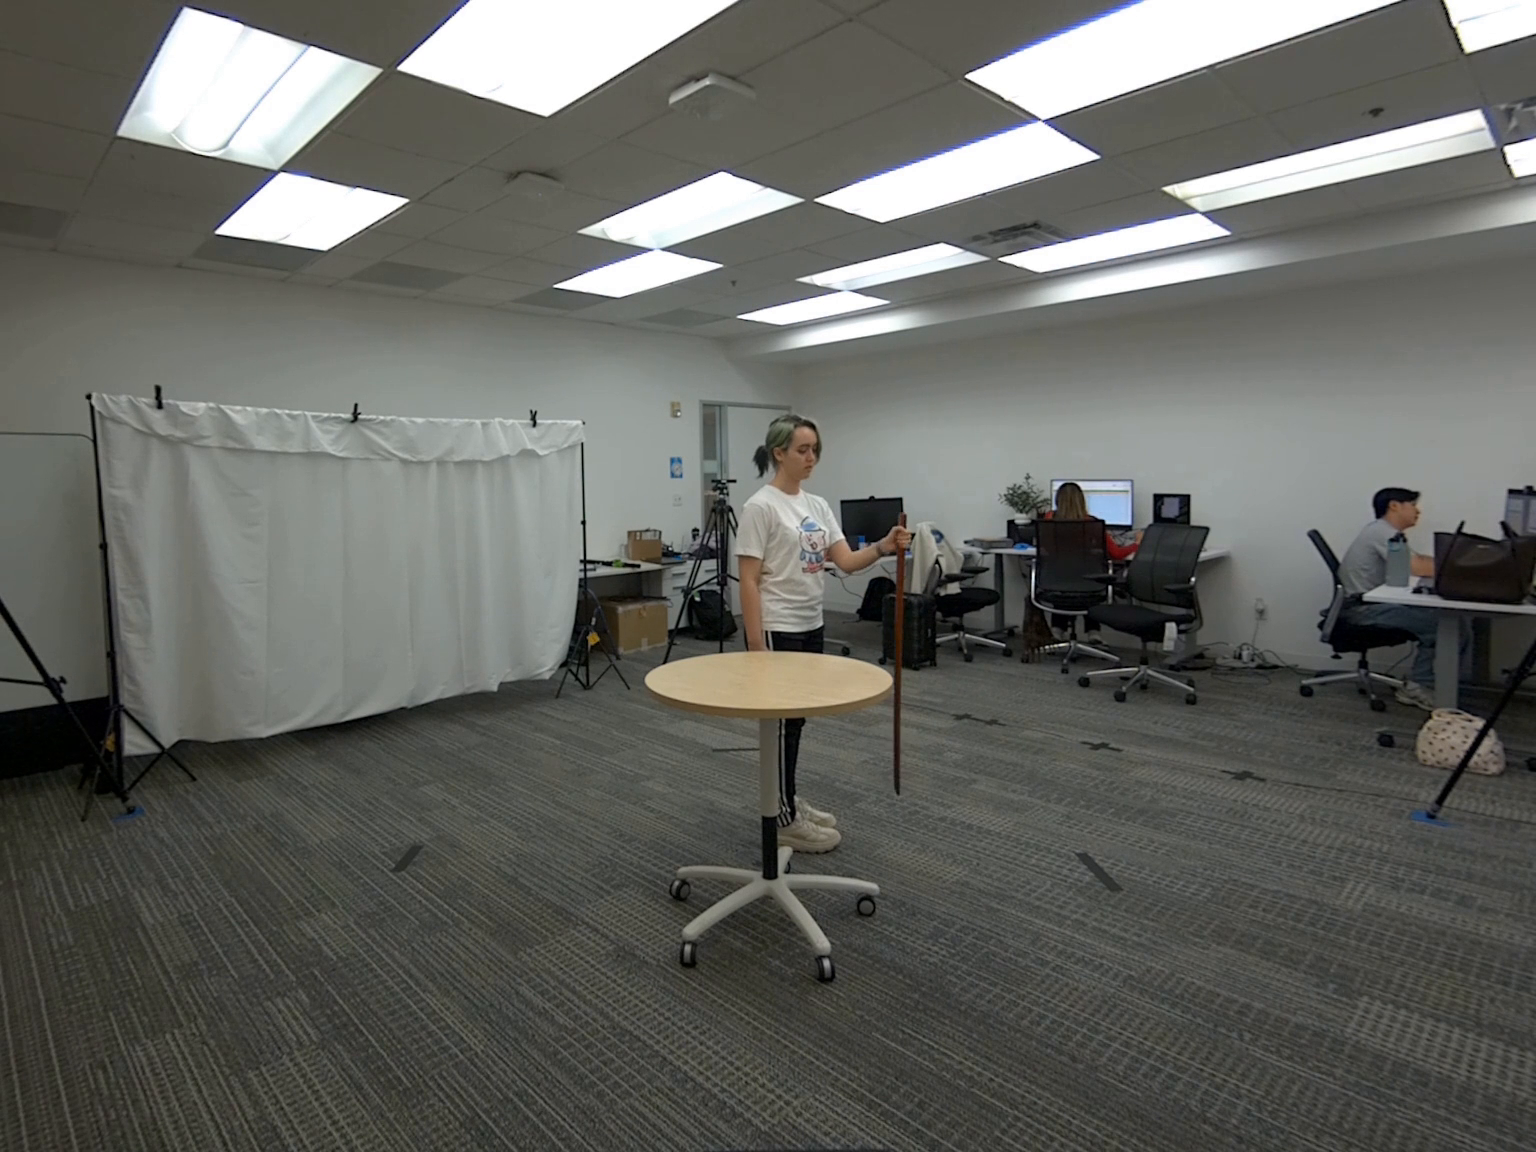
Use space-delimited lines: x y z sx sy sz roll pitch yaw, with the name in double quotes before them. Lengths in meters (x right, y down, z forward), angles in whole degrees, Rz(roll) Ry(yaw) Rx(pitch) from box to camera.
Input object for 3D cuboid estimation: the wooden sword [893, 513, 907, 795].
"wooden sword" 0.480 0.298 3.125 0.053 1.023 0.023 4 3 43
